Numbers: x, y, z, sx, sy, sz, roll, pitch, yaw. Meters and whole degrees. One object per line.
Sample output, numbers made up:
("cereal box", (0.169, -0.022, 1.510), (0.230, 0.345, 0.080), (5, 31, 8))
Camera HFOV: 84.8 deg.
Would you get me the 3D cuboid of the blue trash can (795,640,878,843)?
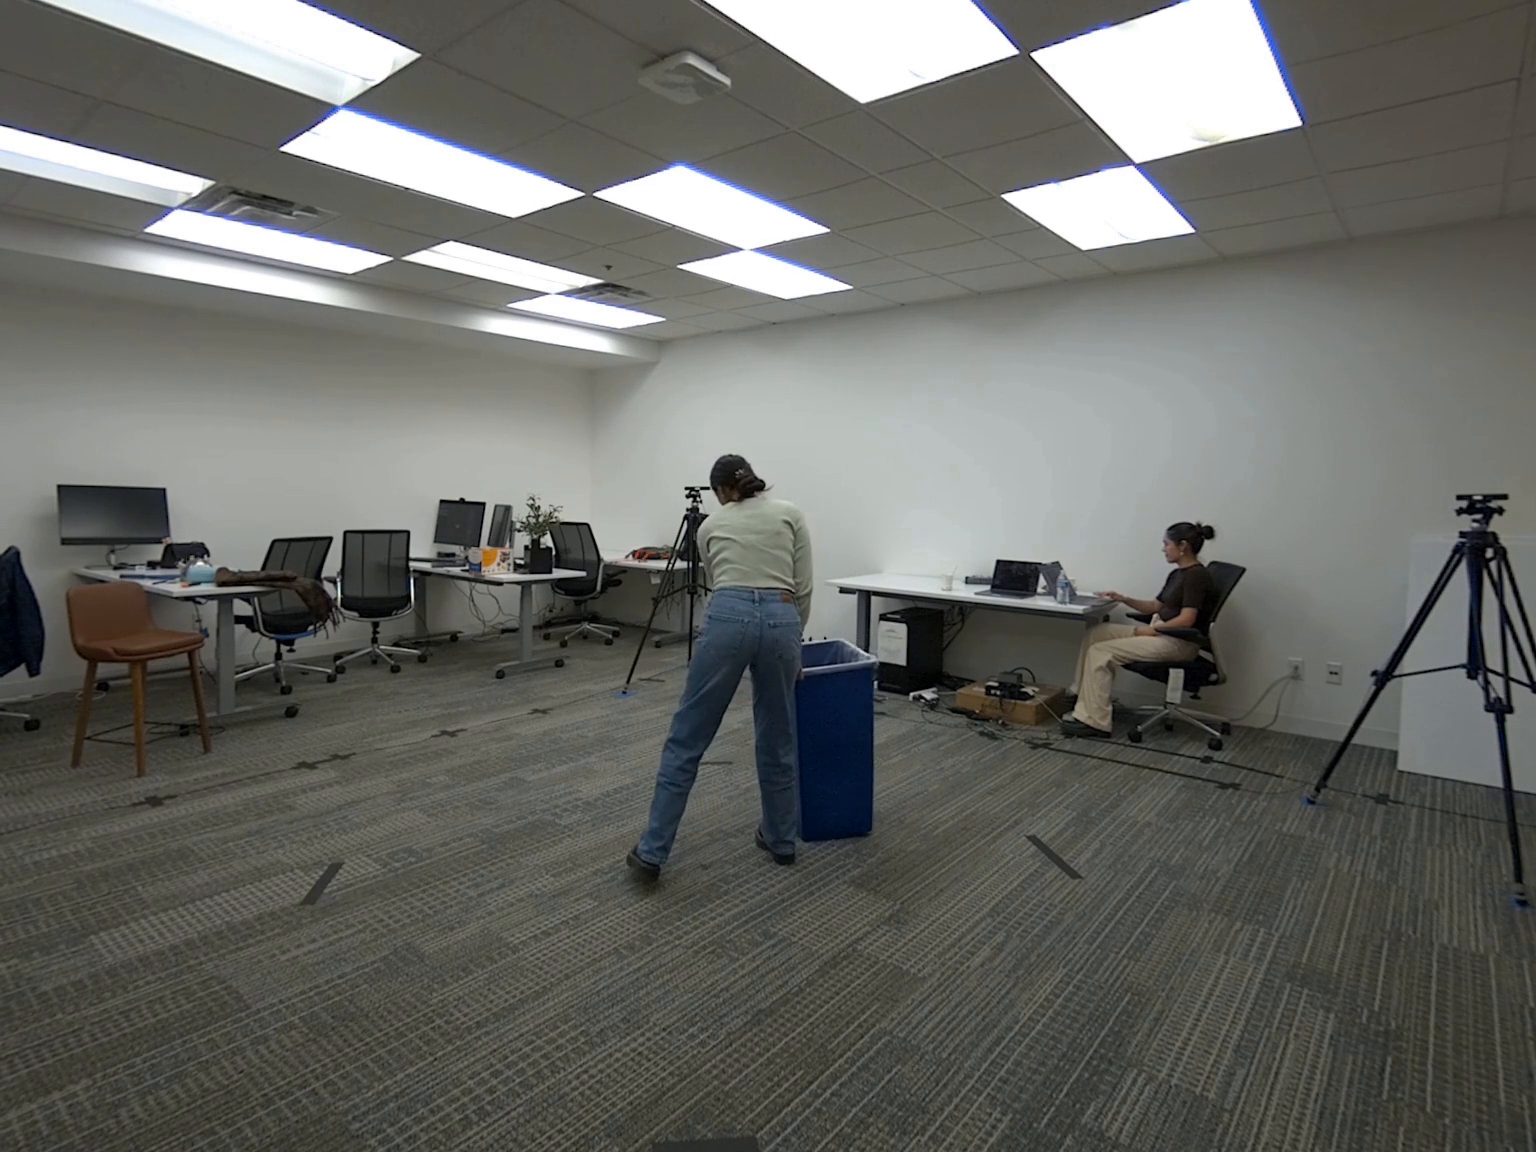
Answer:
("blue trash can", (0.207, 0.661, 3.485), (0.368, 0.708, 0.387), (-4, 8, -16))
